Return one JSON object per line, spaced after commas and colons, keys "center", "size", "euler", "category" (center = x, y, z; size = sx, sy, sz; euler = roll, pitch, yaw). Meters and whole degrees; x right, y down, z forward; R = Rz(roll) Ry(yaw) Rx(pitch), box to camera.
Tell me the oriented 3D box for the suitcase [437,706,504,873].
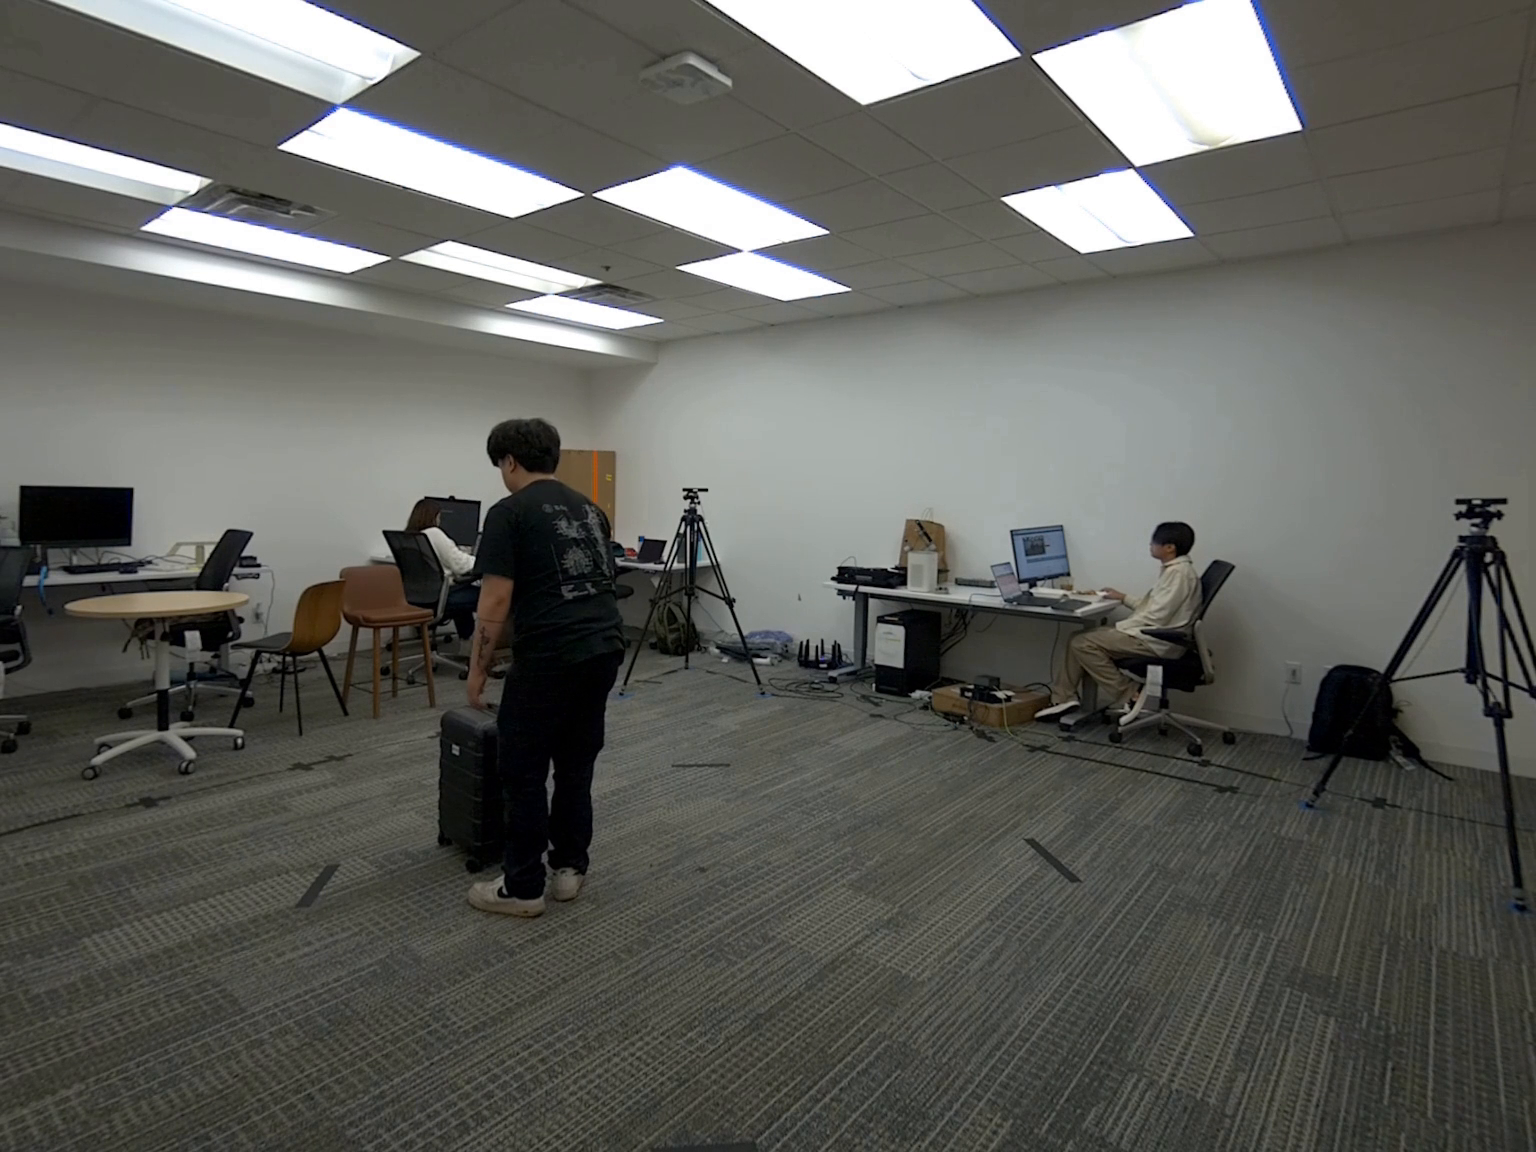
{"center": [-1.085, 0.770, 3.224], "size": [0.241, 0.548, 0.388], "euler": [-2, 4, -45], "category": "suitcase"}
